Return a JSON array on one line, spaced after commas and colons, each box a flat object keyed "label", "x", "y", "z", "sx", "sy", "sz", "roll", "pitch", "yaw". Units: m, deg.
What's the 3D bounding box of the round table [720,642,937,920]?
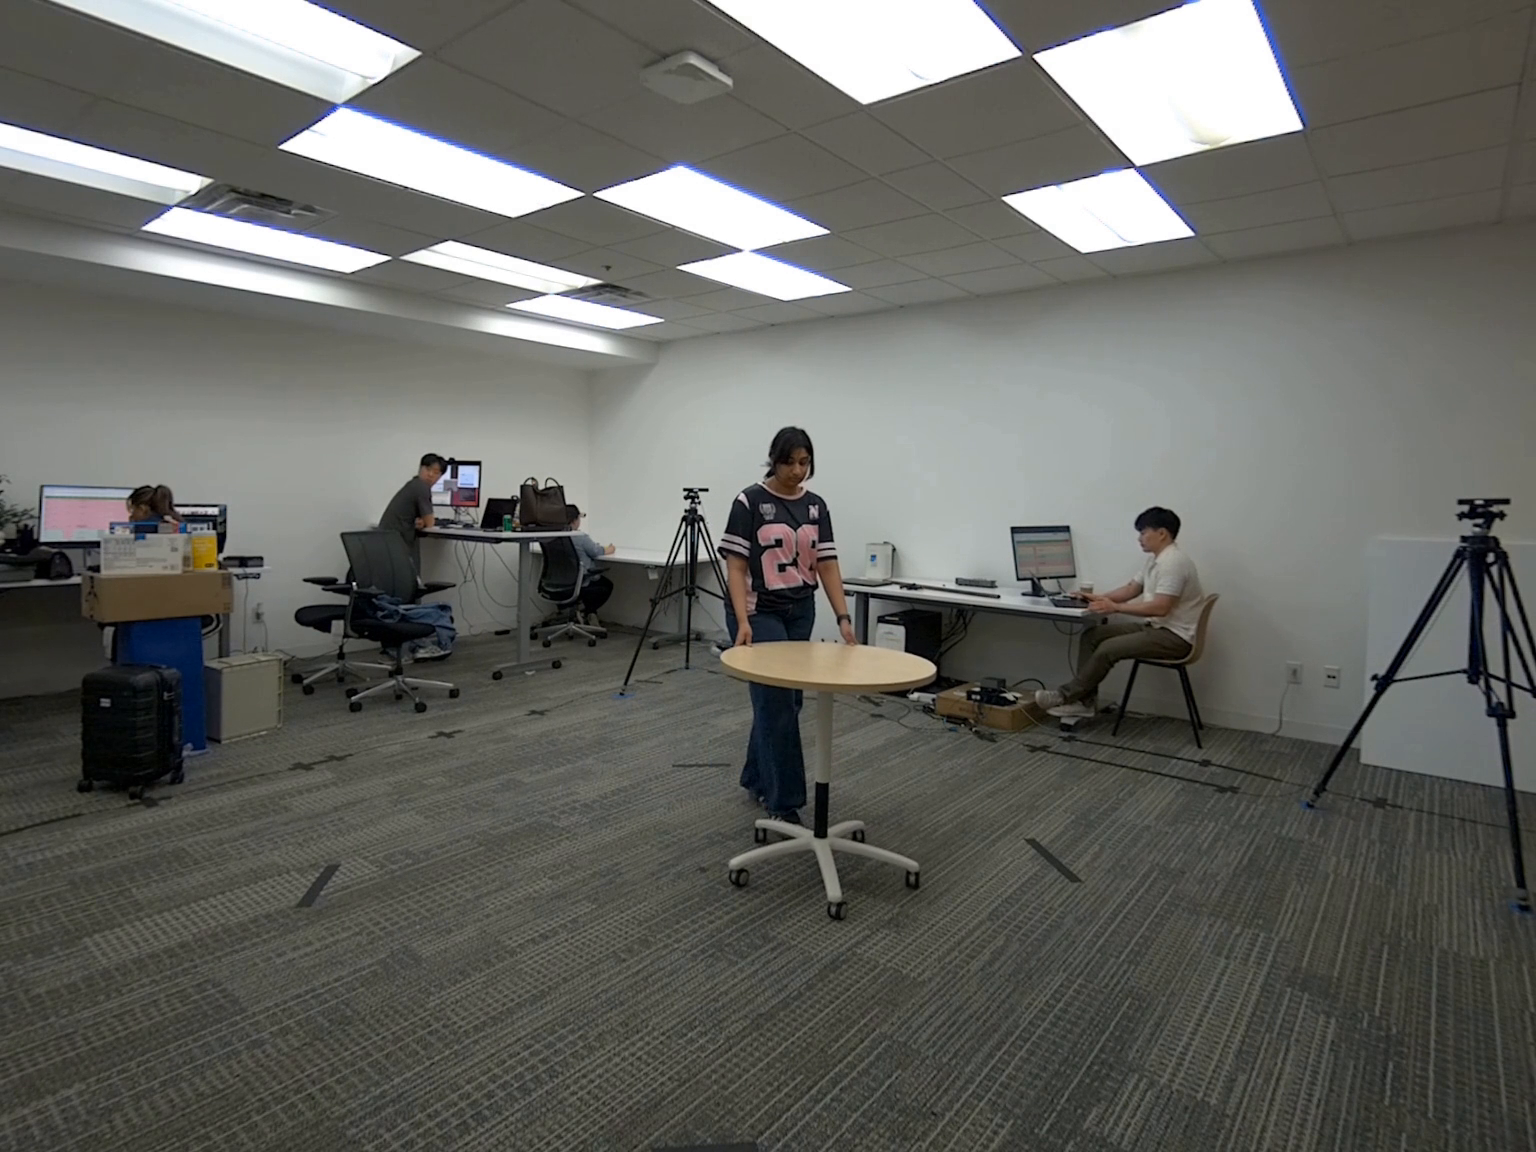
[{"label": "round table", "x": 0.188, "y": 0.694, "z": 3.071, "sx": 0.763, "sy": 0.792, "sz": 0.767, "roll": 2, "pitch": 4, "yaw": -2}]
